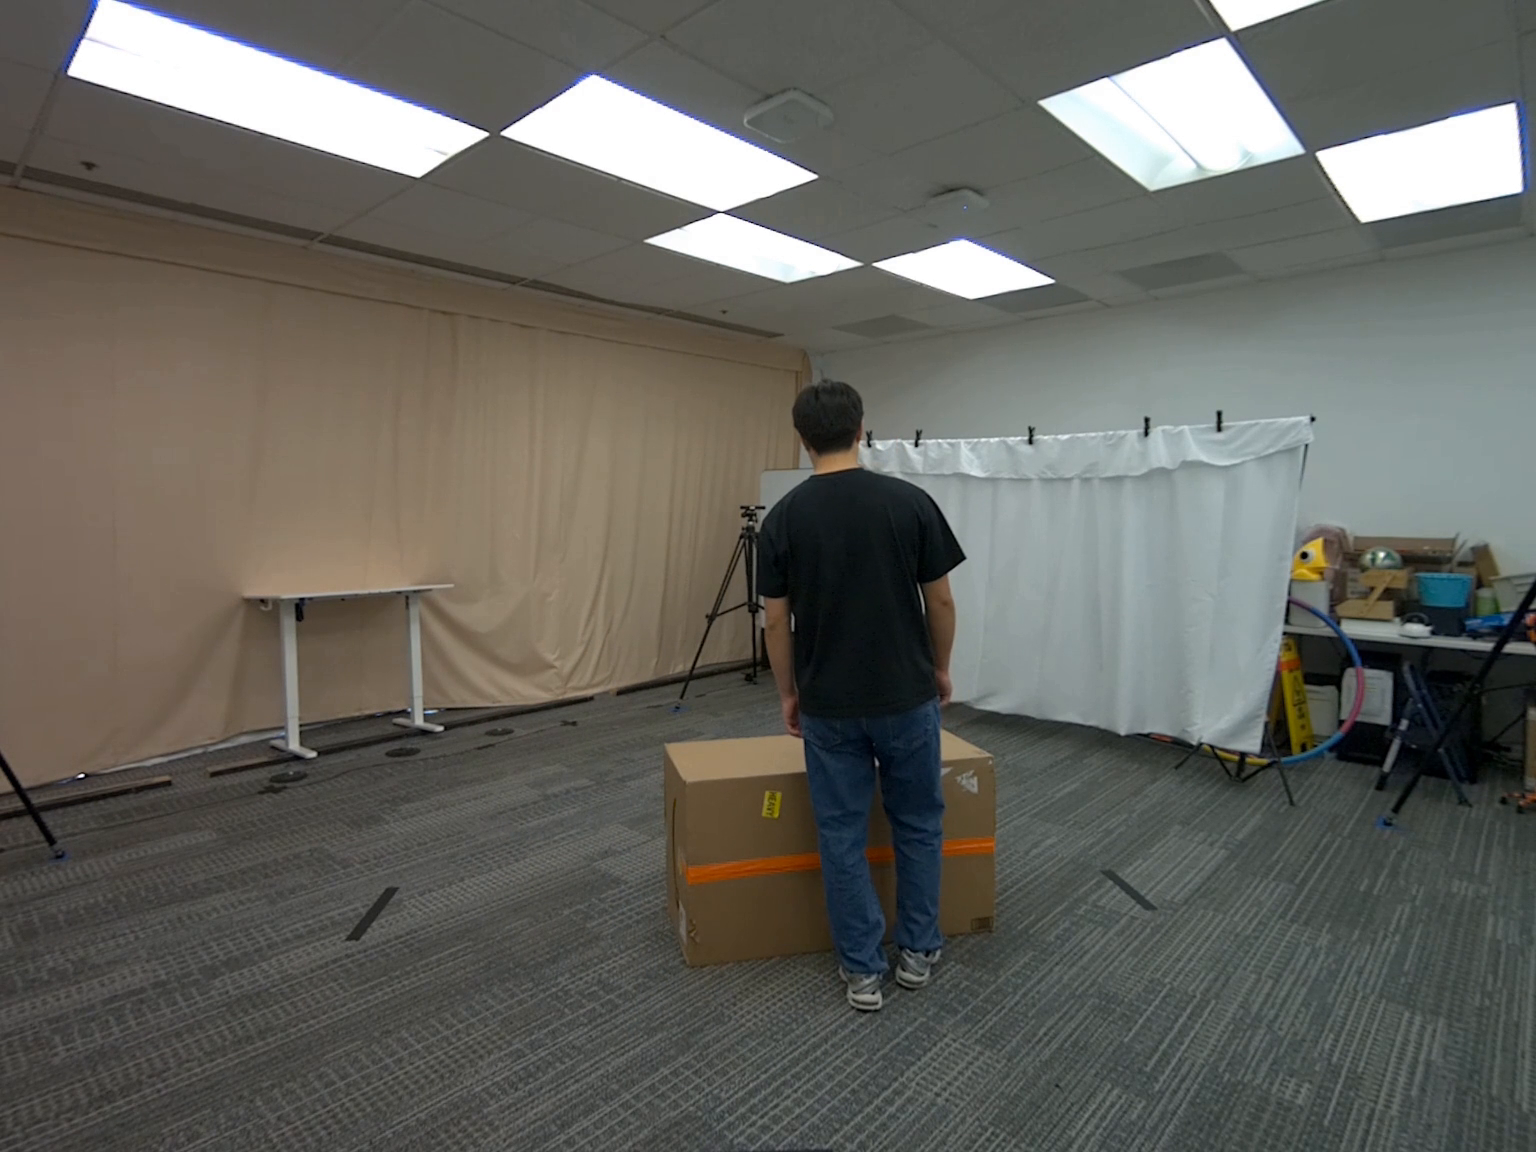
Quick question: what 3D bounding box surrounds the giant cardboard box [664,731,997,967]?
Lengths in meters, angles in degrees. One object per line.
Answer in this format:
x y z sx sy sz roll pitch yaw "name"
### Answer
0.190 0.868 2.832 1.013 0.582 0.454 -2 4 -13 "giant cardboard box"
